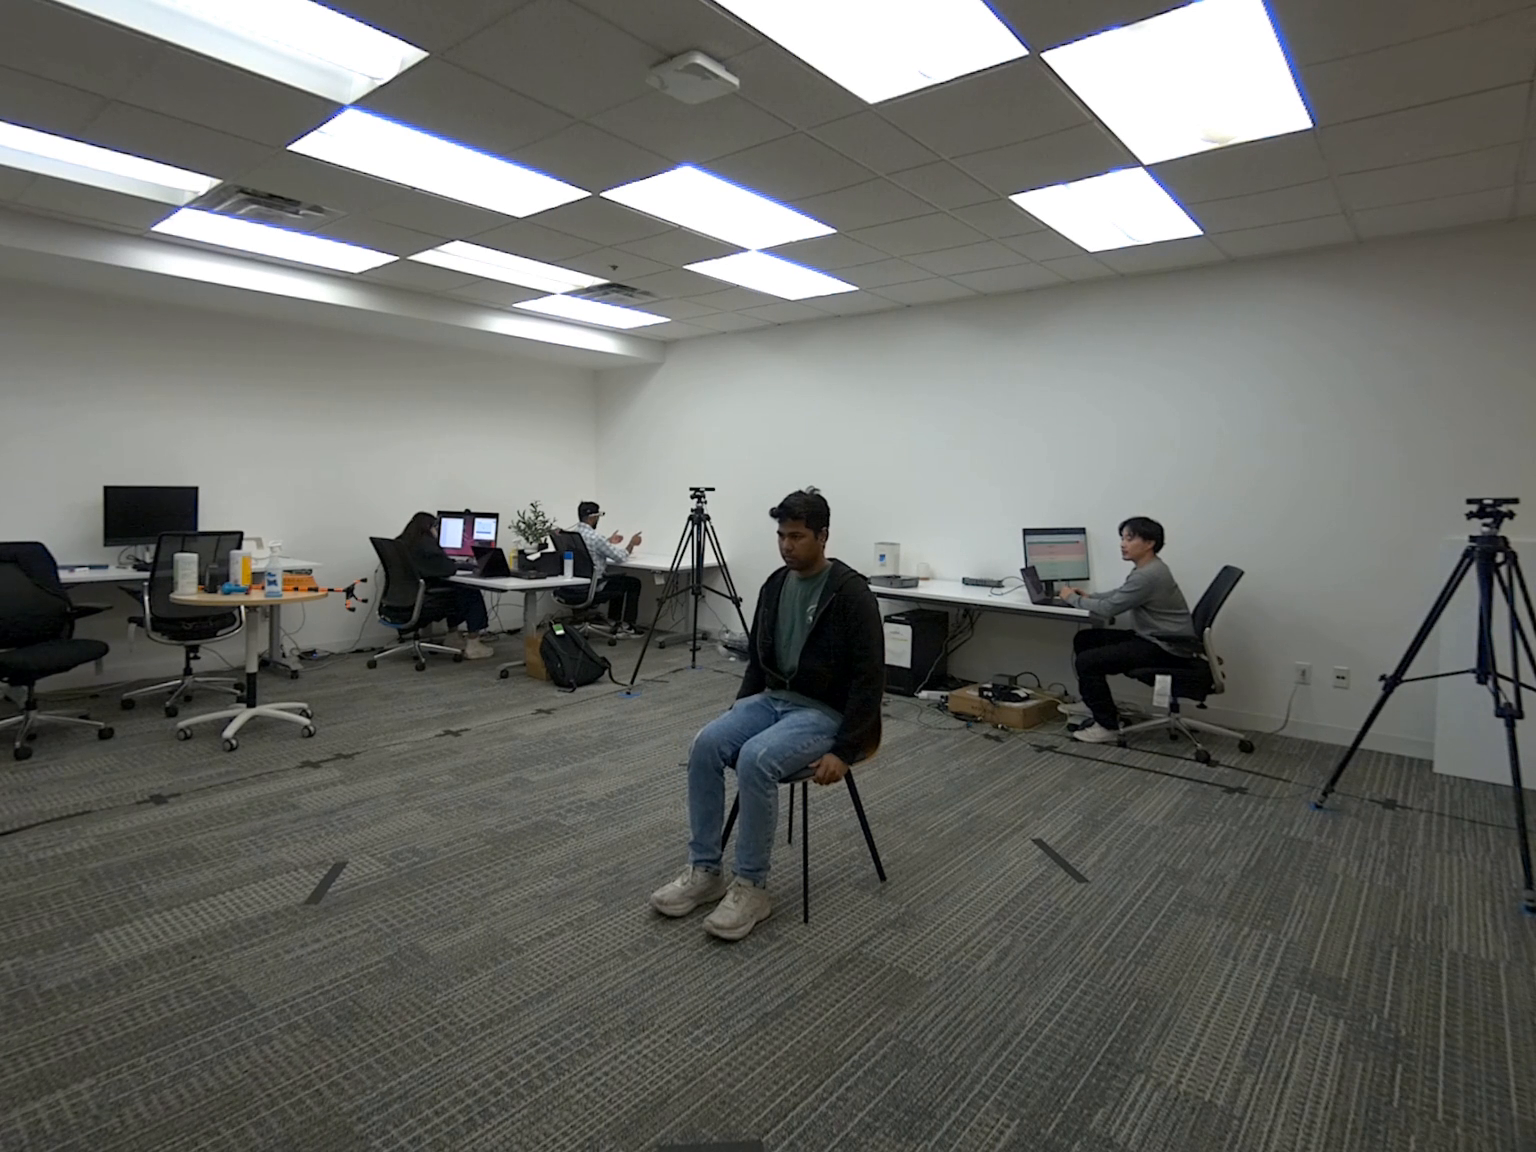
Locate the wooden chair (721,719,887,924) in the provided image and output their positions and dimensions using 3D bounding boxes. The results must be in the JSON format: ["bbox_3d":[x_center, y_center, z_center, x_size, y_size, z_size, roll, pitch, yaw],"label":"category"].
[{"bbox_3d":[0.100,0.654,3.007,0.494,0.877,0.506,5,1,43],"label":"wooden chair"}]
